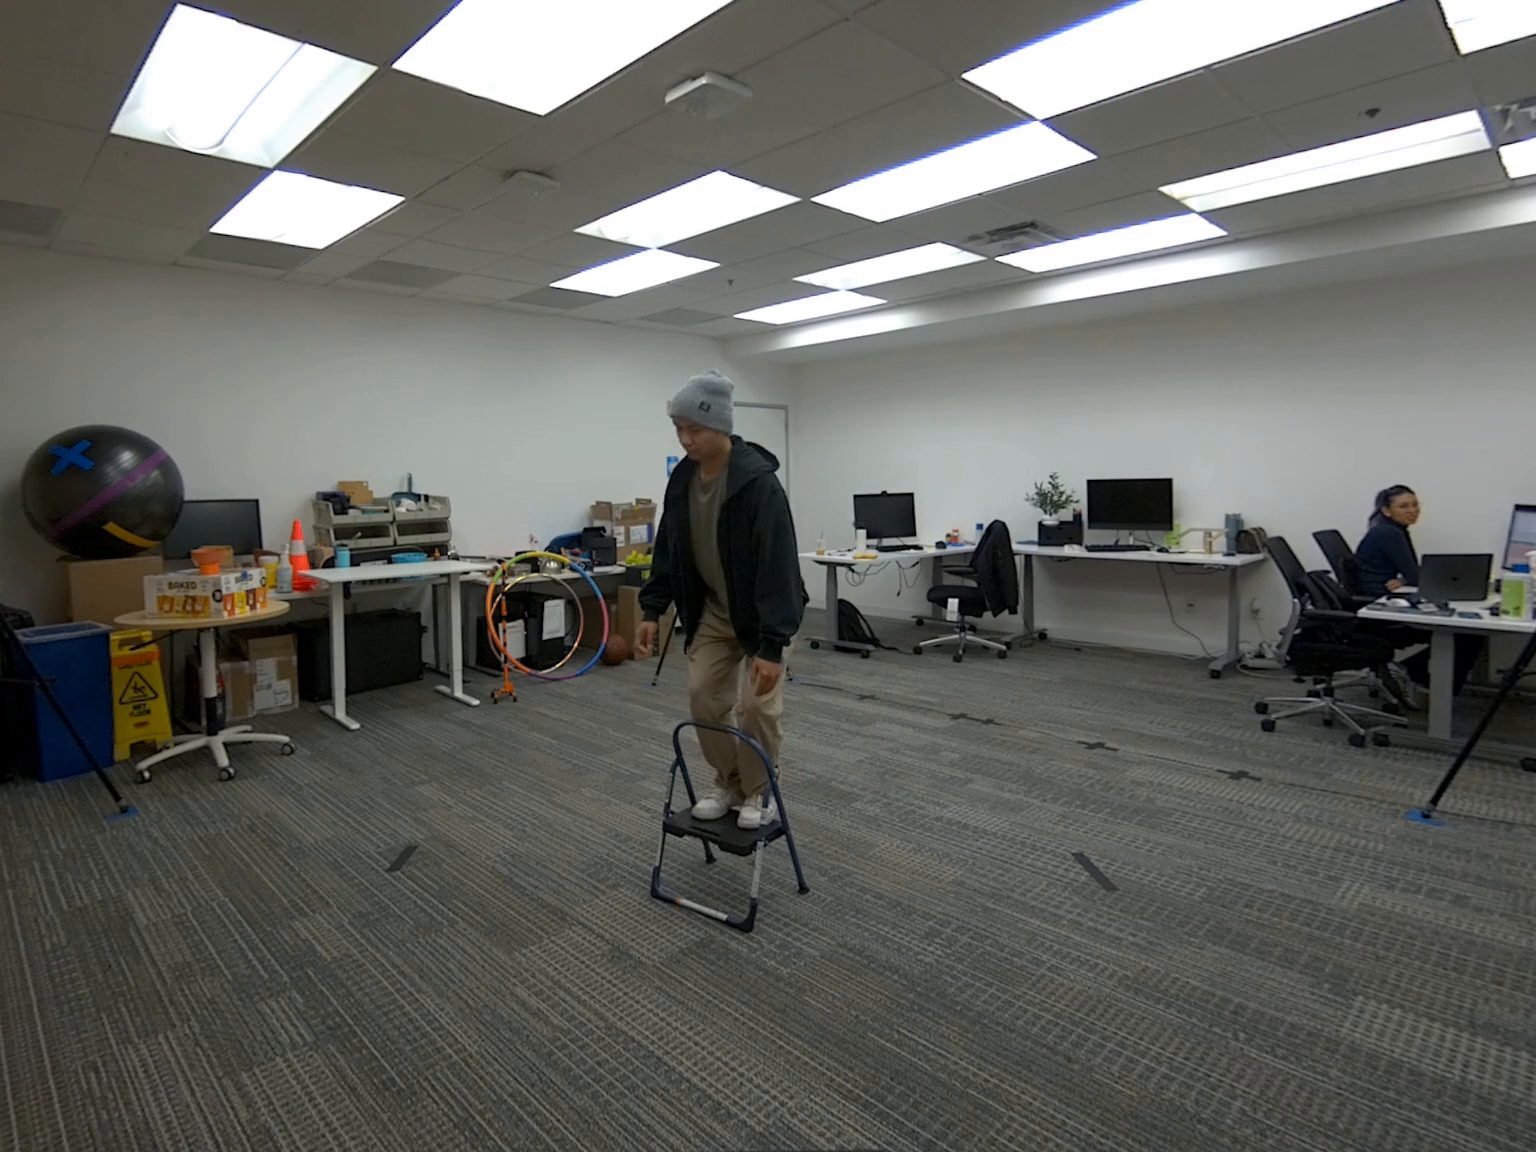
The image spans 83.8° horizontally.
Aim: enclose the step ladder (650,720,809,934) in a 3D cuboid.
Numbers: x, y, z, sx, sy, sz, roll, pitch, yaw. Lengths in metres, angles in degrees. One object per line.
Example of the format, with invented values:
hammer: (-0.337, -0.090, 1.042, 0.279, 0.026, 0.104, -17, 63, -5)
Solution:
step ladder: (-0.138, 0.774, 2.864, 0.443, 0.603, 0.341, 2, 6, 35)
